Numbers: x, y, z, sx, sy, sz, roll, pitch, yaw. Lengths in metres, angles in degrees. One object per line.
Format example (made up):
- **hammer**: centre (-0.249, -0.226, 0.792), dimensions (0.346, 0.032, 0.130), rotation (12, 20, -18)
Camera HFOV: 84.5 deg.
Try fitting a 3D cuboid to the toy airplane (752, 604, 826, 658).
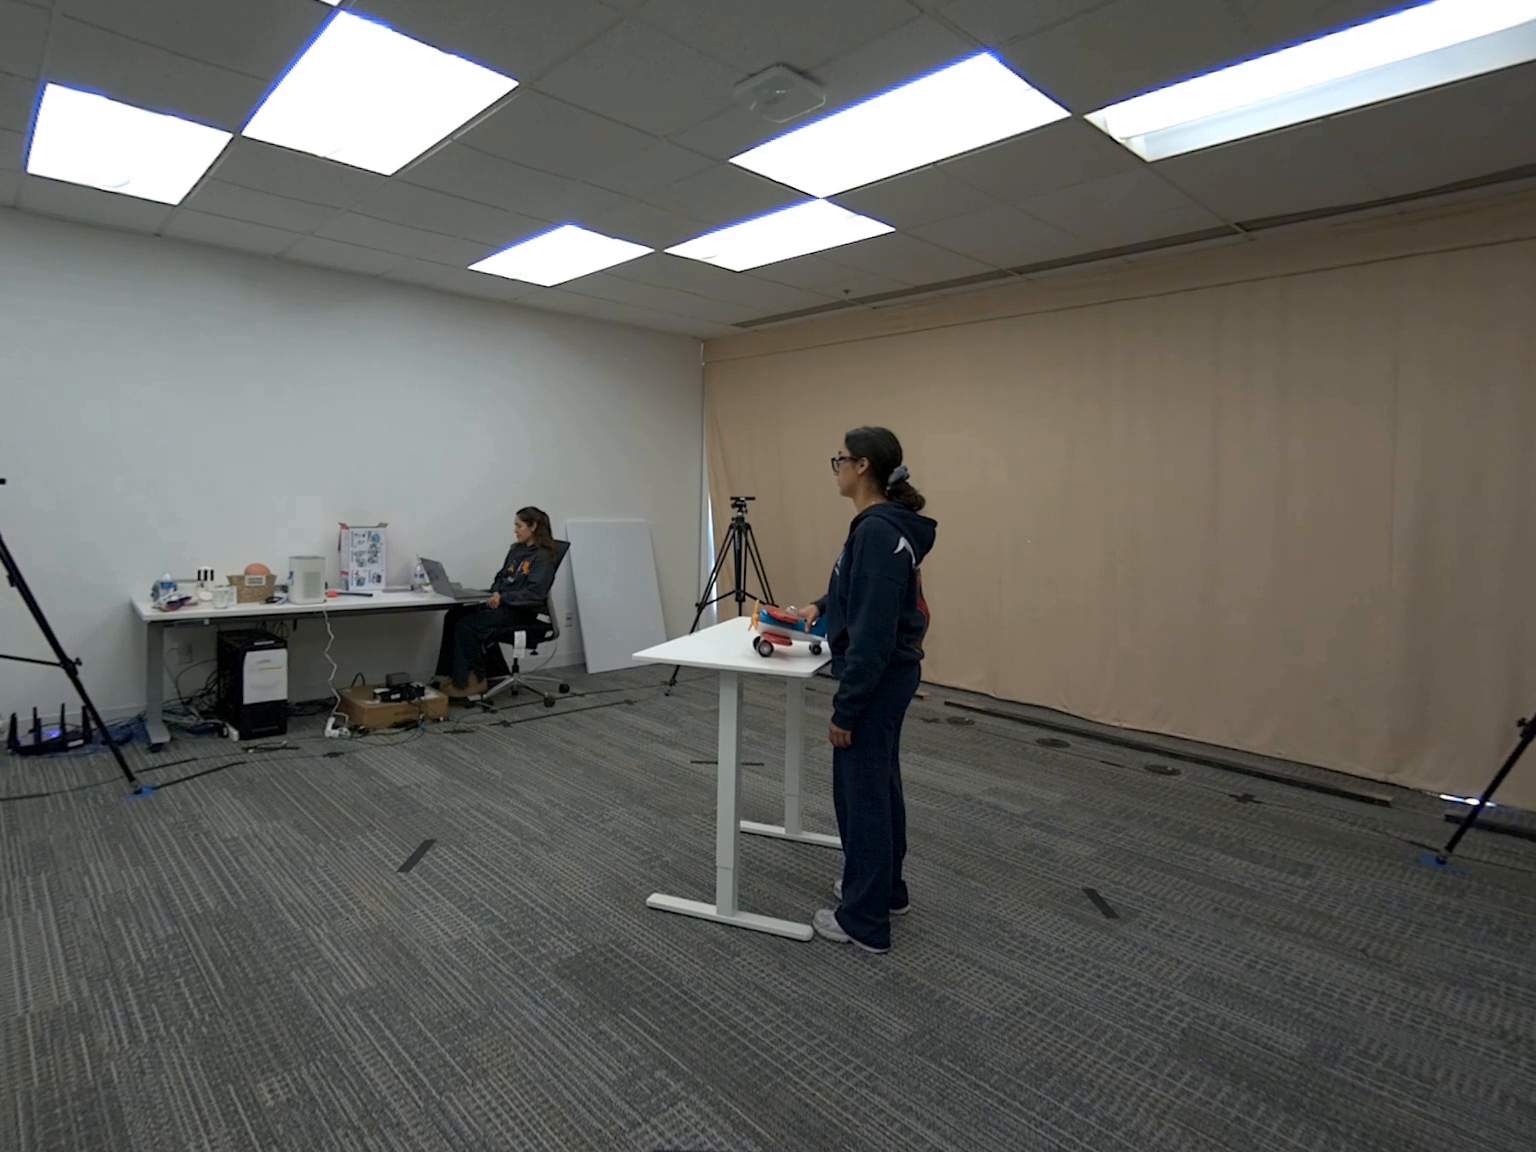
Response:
- **toy airplane**: centre (0.064, 0.181, 2.808), dimensions (0.254, 0.156, 0.257), rotation (-4, 6, -36)
